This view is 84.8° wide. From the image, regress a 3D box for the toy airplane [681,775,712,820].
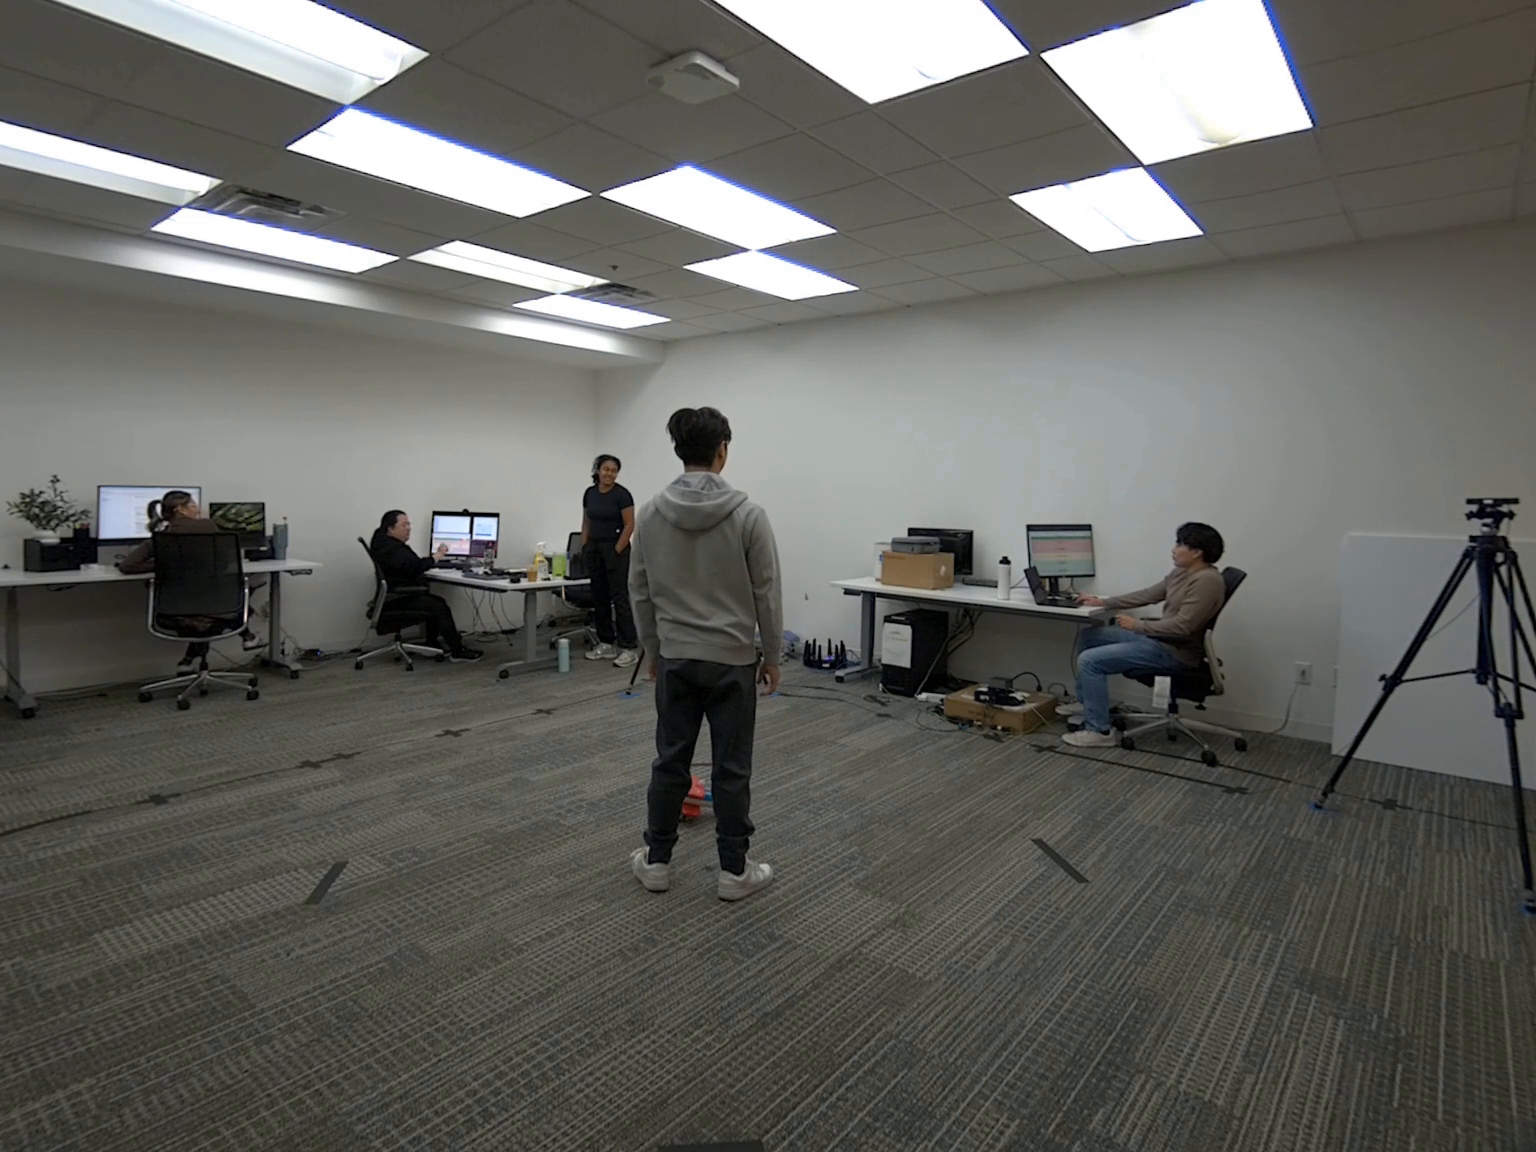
[{"bbox_3d":[-0.301,0.948,3.622,0.252,0.156,0.259,-2,4,-32],"label":"toy airplane"}]
